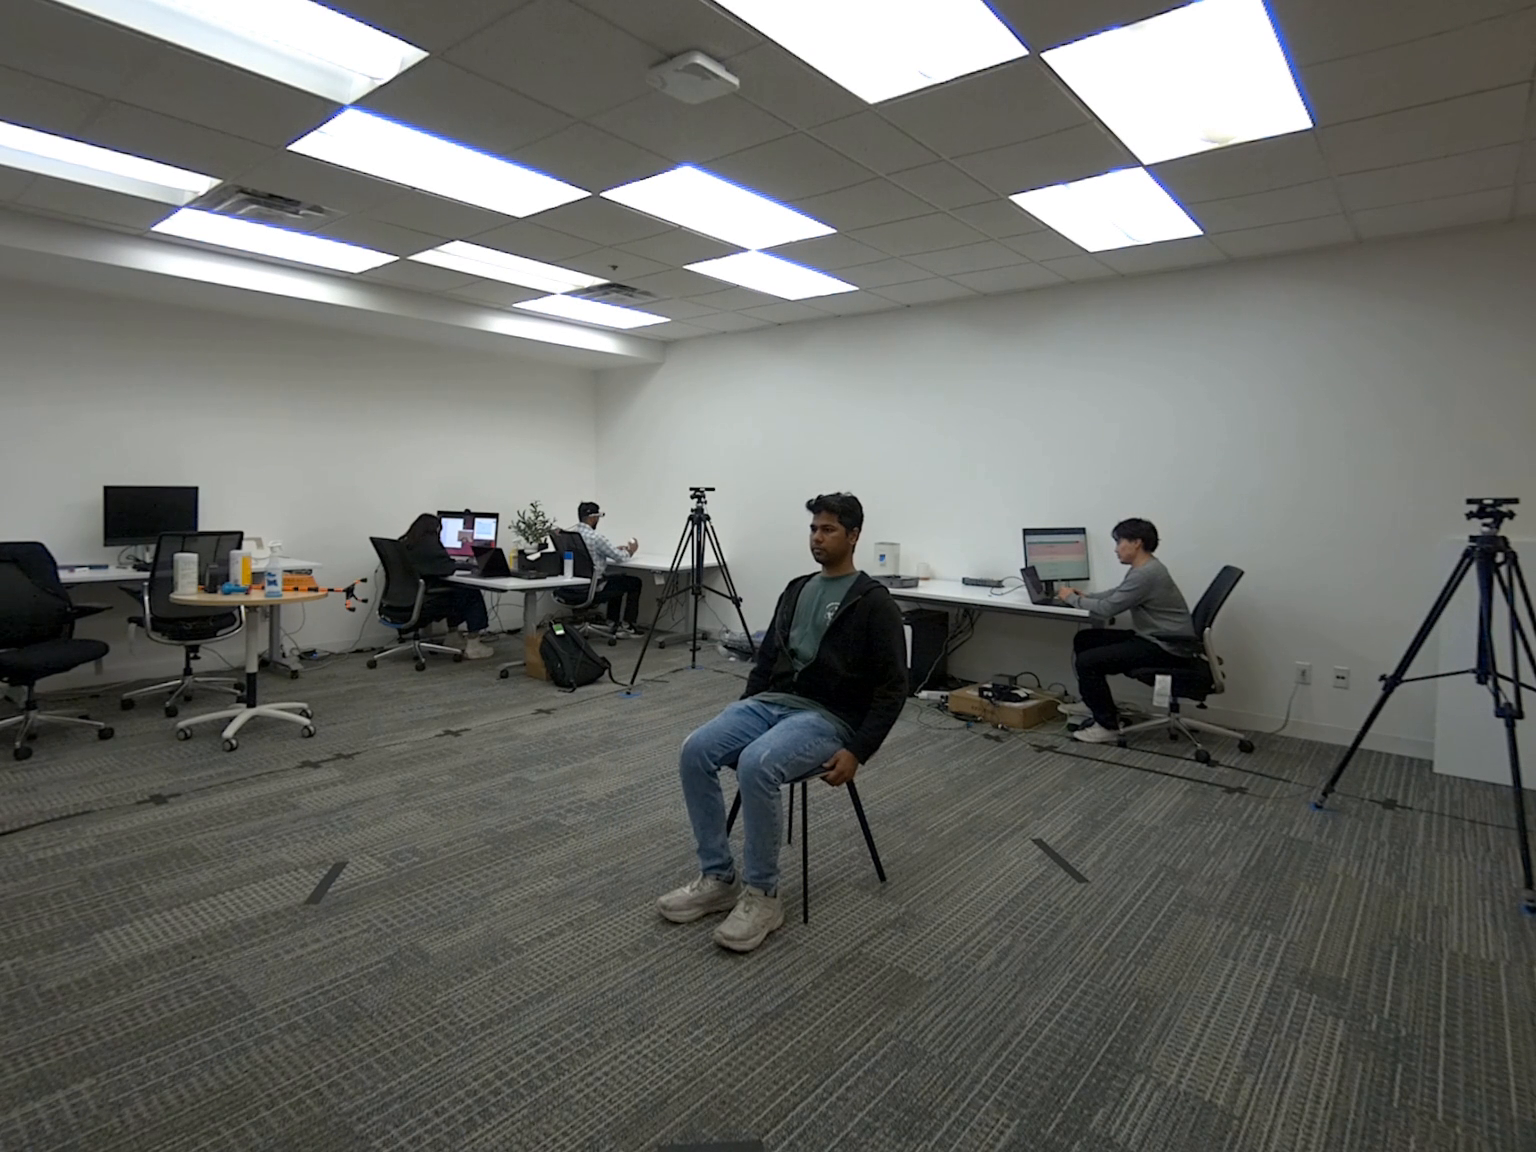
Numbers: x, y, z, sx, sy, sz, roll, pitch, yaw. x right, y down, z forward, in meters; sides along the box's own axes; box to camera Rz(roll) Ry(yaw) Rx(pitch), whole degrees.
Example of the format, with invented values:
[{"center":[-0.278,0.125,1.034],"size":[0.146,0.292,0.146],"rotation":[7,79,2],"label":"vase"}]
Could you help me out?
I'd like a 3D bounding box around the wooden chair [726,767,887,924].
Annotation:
[{"center":[0.100,0.654,3.007],"size":[0.495,0.877,0.505],"rotation":[6,1,43],"label":"wooden chair"}]
